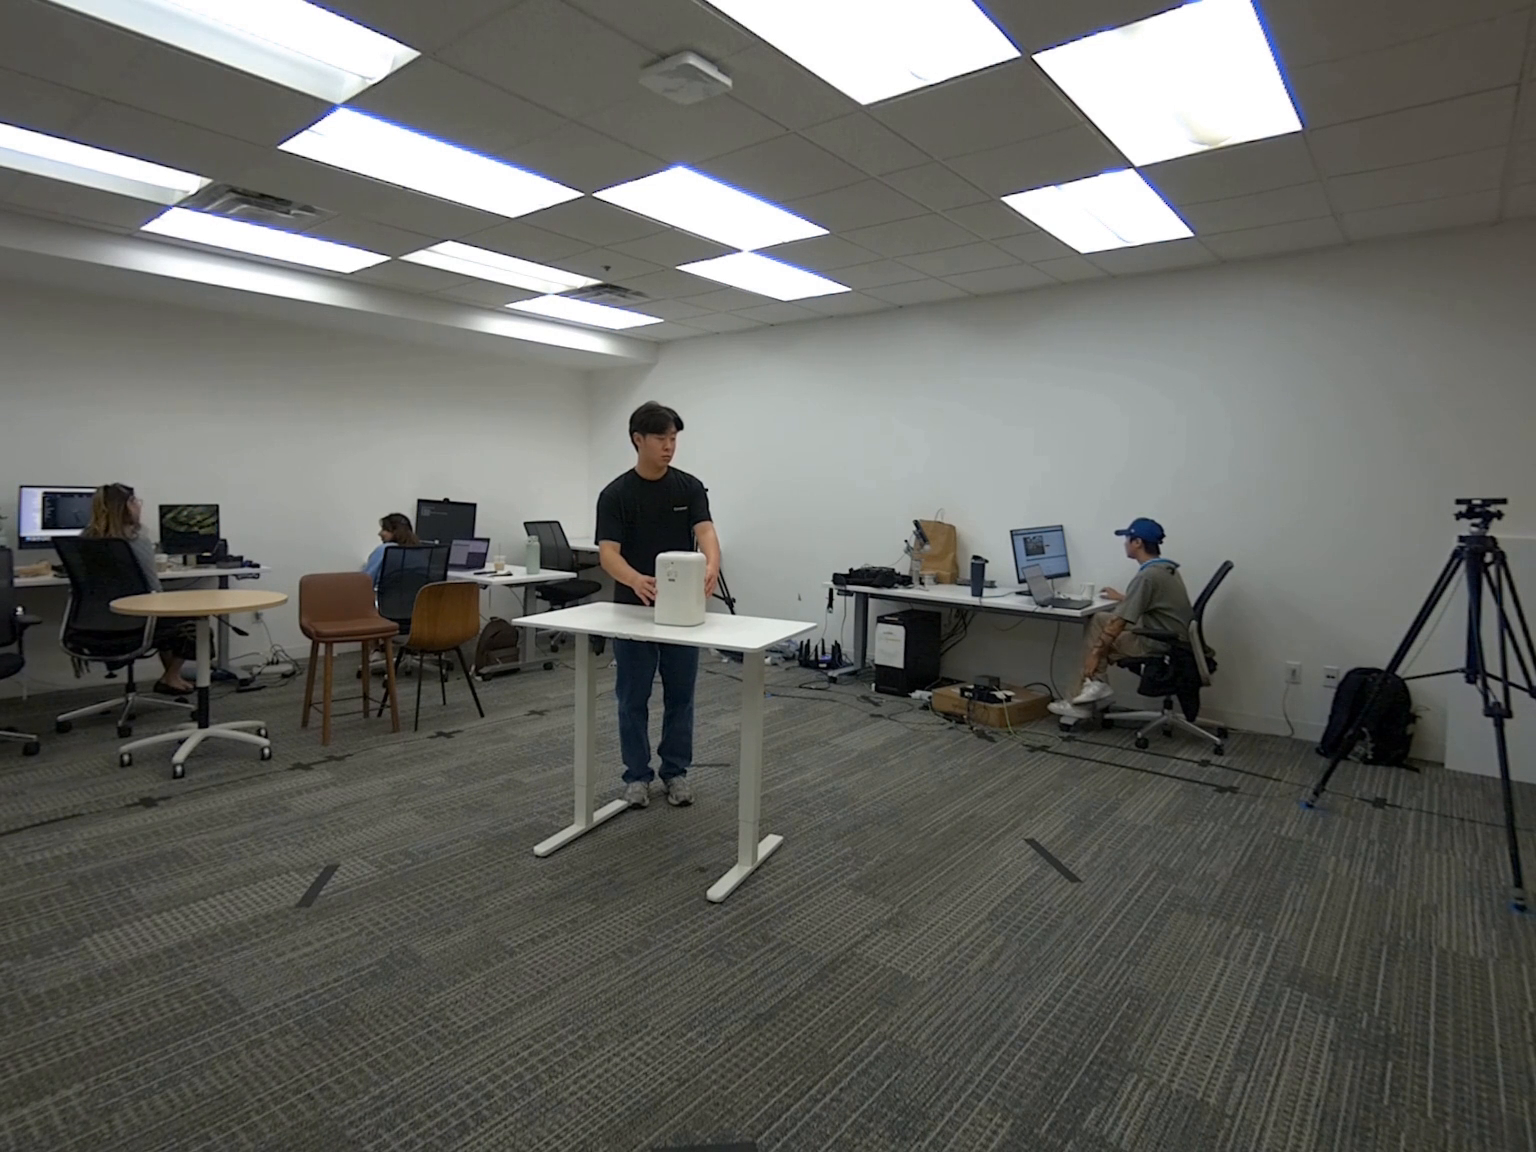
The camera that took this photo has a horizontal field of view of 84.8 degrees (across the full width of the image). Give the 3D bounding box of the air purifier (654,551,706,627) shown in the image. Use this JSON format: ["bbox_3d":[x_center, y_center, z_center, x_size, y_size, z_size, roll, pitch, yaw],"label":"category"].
[{"bbox_3d":[-0.340,0.039,3.210,0.174,0.264,0.169,2,4,17],"label":"air purifier"}]
